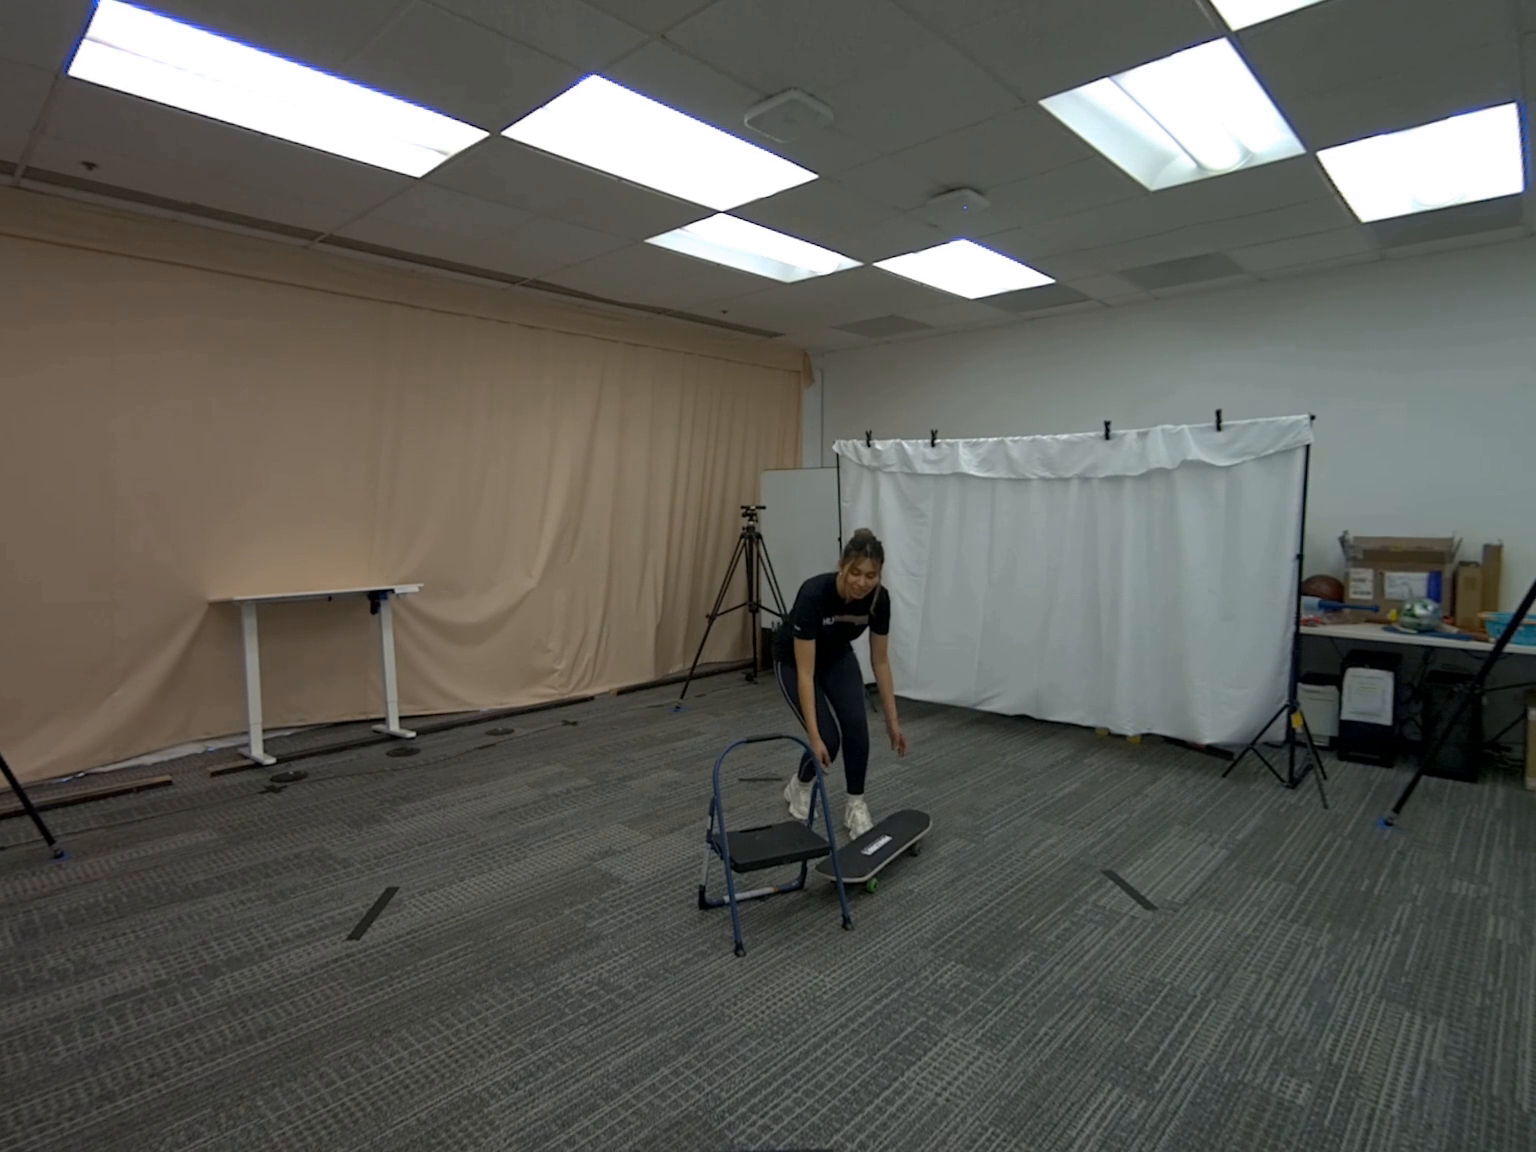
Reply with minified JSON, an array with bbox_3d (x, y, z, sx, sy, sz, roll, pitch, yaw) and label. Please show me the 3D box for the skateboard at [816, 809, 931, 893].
[{"bbox_3d":[0.421,1.064,3.237,0.199,0.110,0.763,2,5,33],"label":"skateboard"}]
